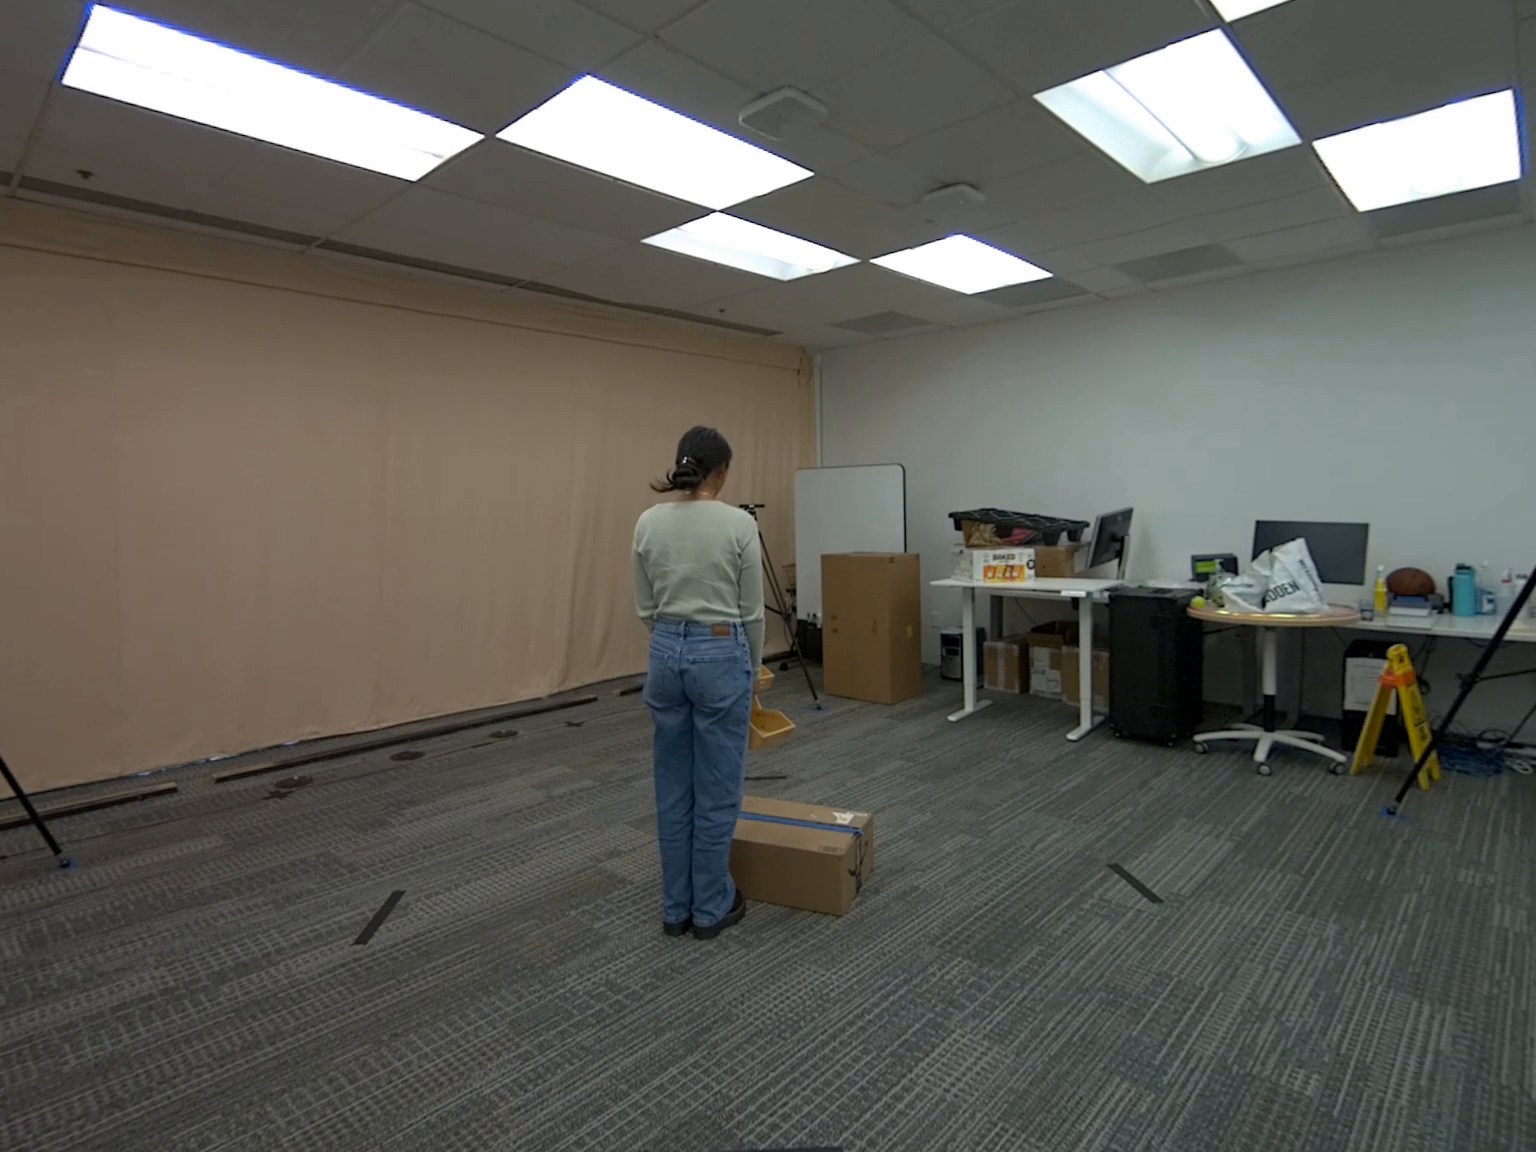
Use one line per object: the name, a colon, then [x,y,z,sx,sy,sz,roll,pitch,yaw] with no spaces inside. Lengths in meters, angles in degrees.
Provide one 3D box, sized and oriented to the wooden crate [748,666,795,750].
wooden crate: [-0.077,0.438,2.977,0.309,0.273,0.317,2,-2,20]
